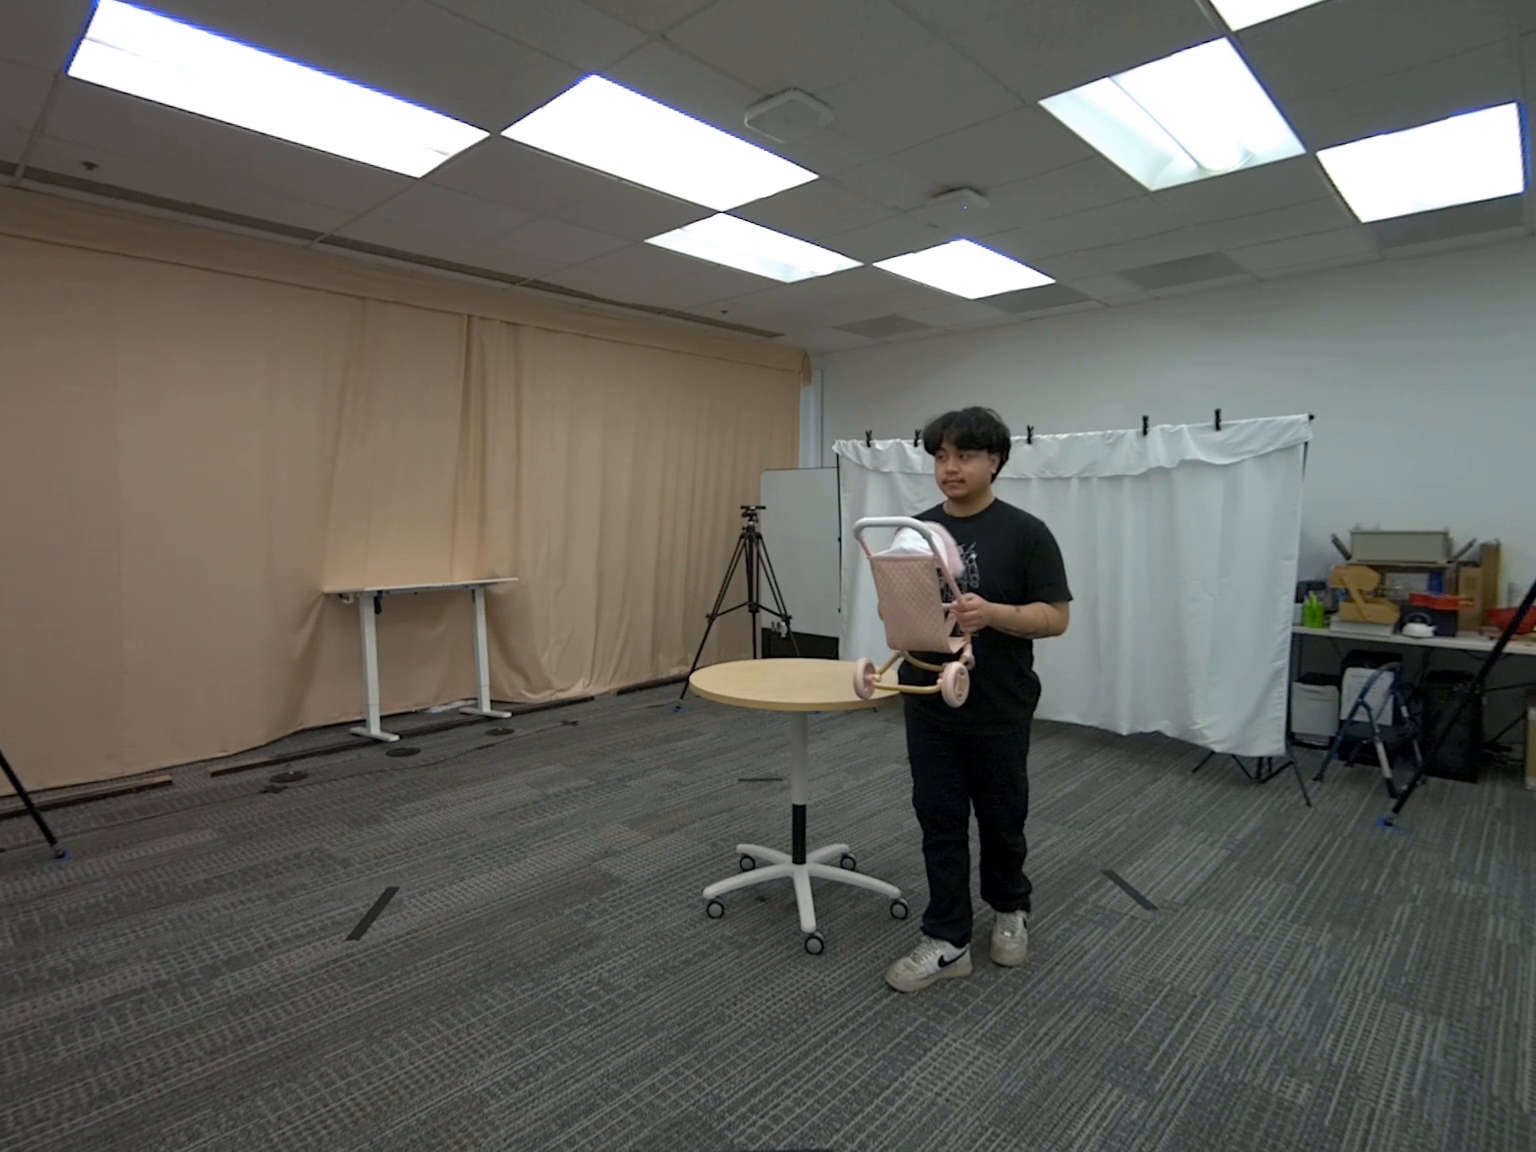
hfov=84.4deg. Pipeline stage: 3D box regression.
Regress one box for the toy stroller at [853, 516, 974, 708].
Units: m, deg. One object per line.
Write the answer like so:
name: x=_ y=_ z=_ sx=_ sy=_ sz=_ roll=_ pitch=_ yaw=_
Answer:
toy stroller: x=0.414 y=0.100 z=2.217 sx=0.290 sy=0.533 sz=0.332 roll=-2 pitch=6 yaw=40
